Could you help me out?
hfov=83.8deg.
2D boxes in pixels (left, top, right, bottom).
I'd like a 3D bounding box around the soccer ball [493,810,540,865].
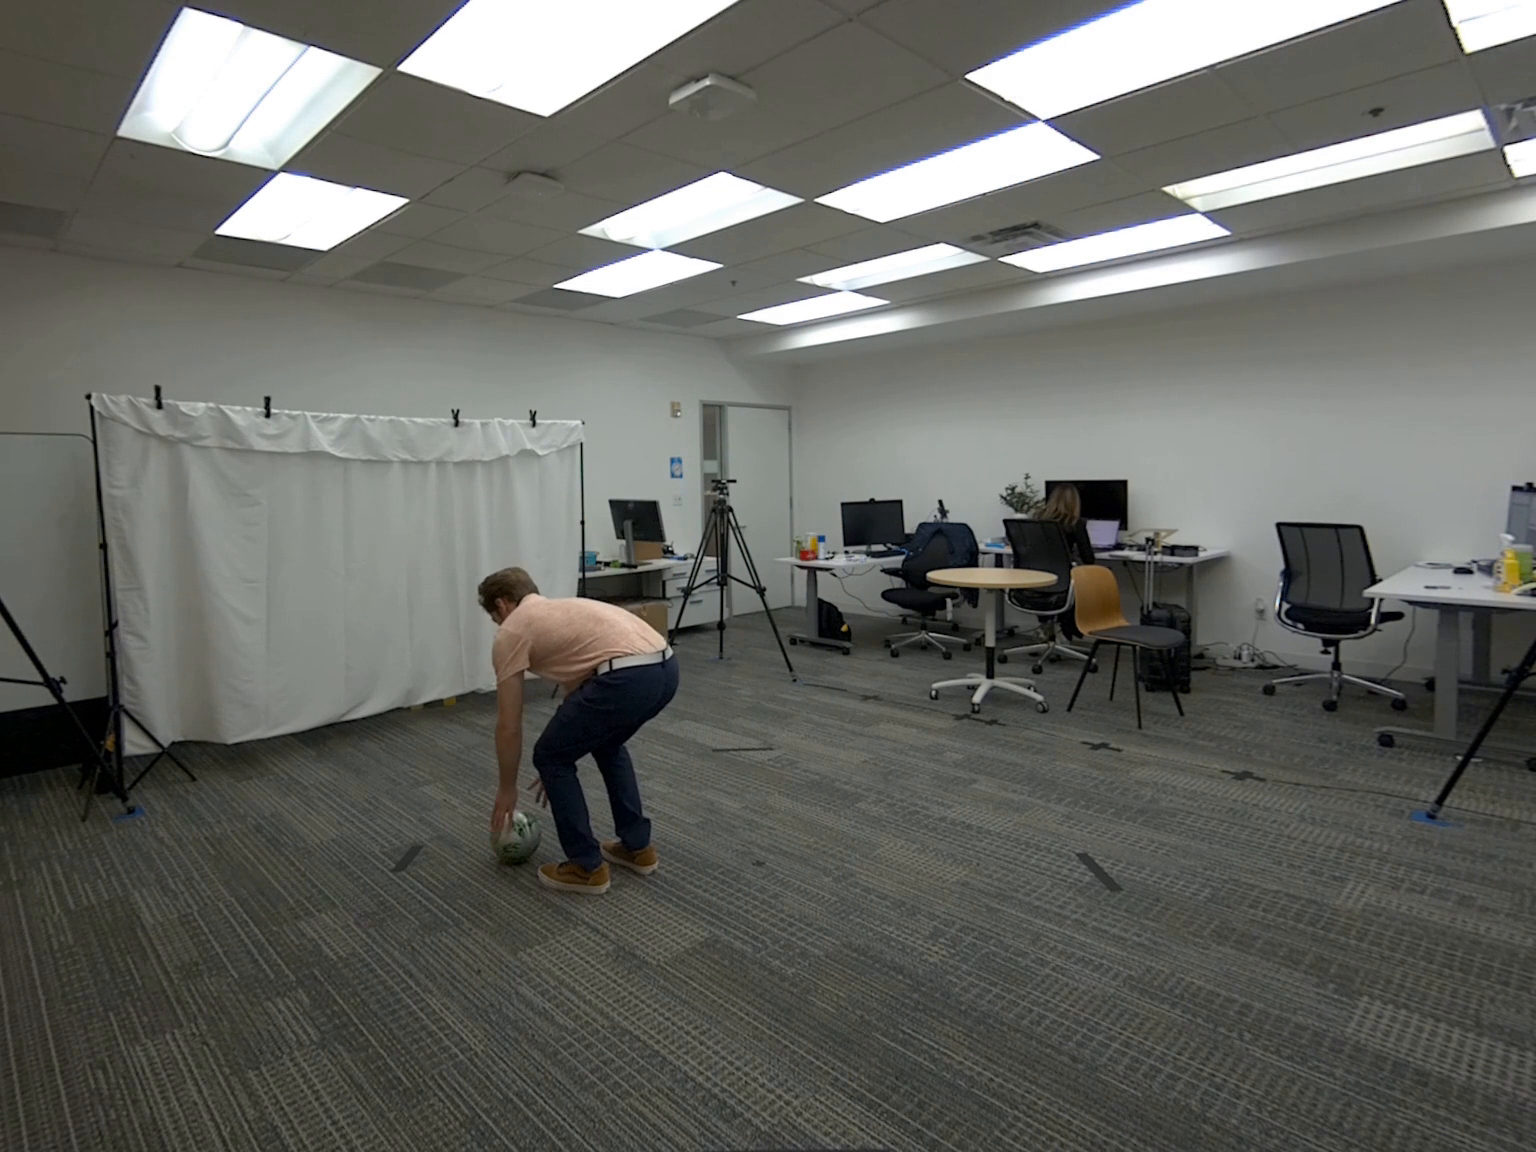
[{"bbox_3d":[-0.930,0.962,3.178,0.187,0.187,0.188,-1,5,-2],"label":"soccer ball"}]
